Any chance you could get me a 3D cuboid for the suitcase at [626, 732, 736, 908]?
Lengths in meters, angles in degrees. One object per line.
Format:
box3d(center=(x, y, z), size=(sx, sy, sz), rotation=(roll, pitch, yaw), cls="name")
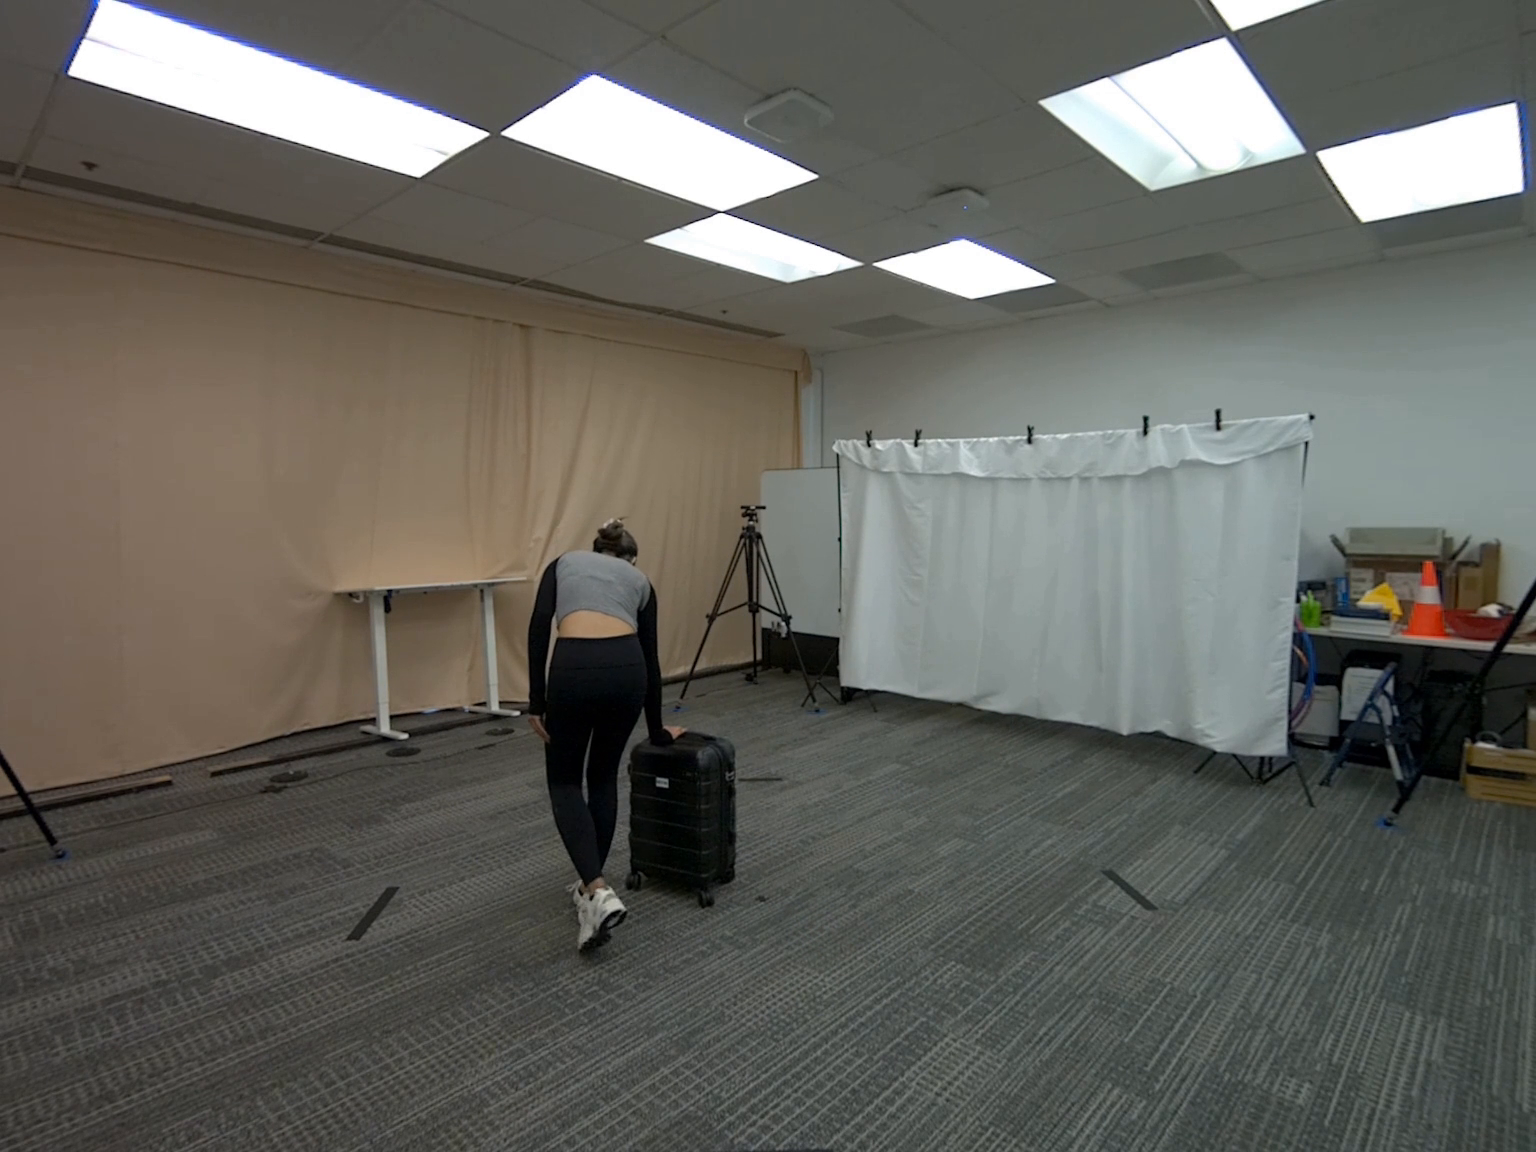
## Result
box3d(center=(-0.311, 0.858, 3.095), size=(0.386, 0.548, 0.242), rotation=(2, 3, 27), cls="suitcase")
